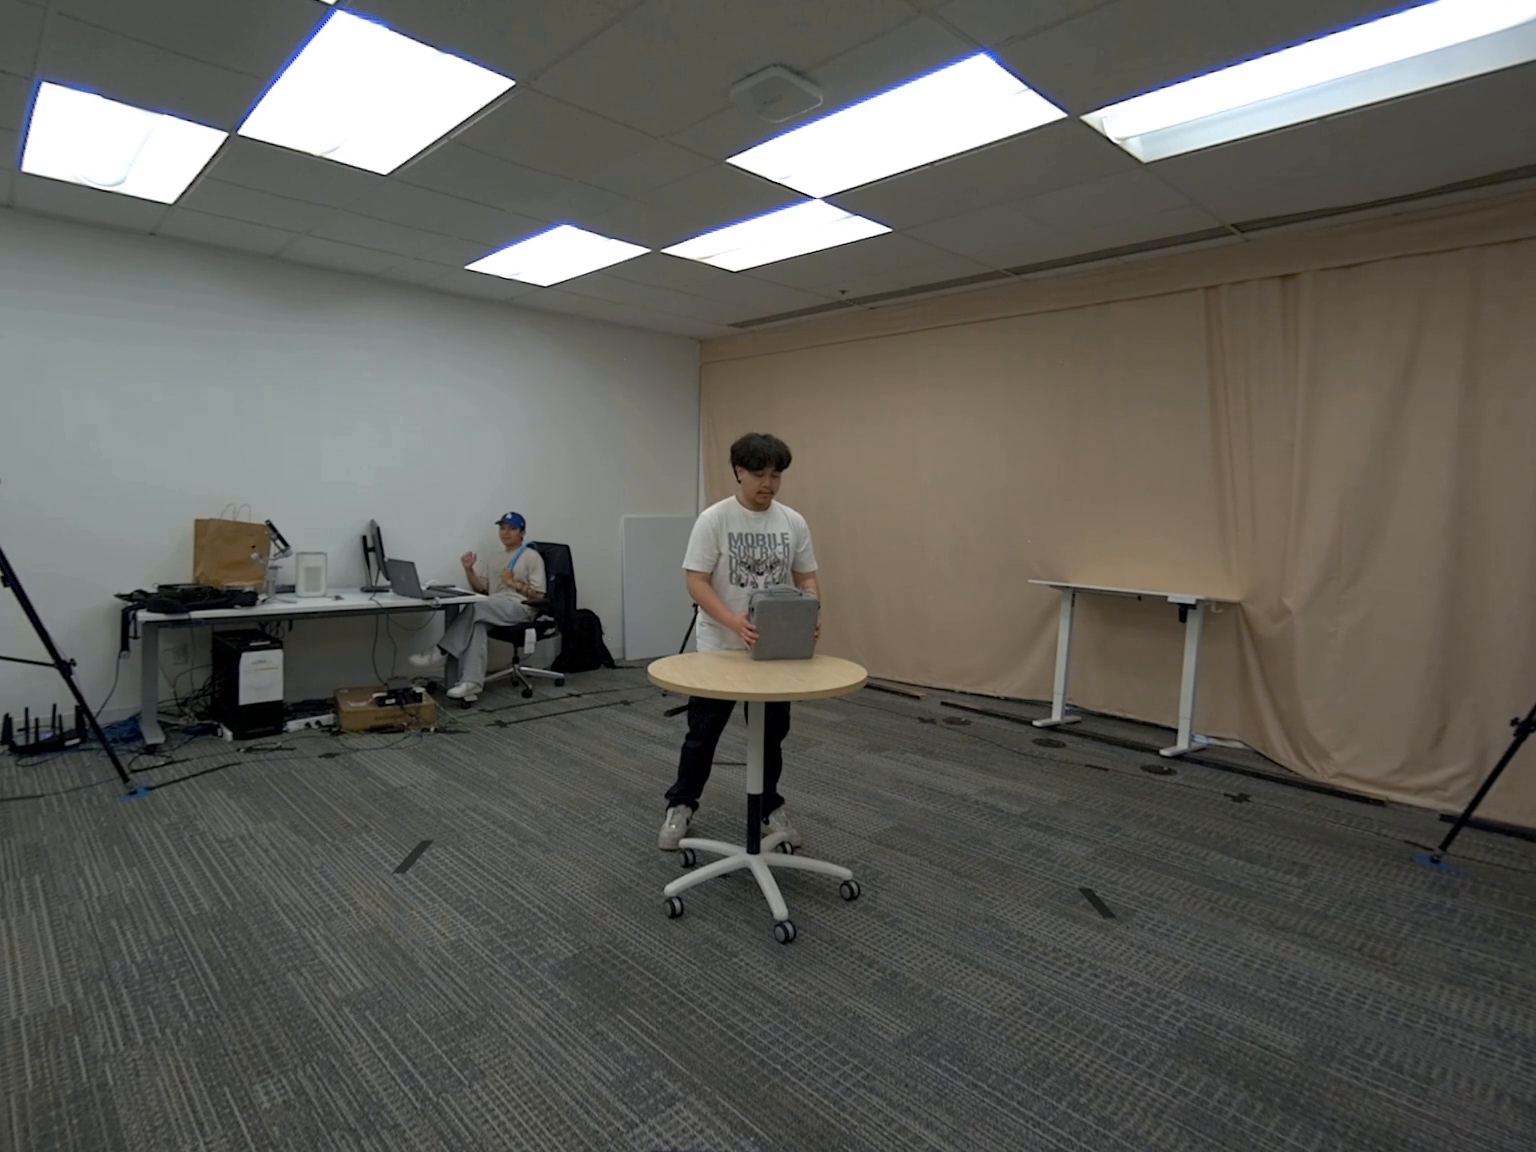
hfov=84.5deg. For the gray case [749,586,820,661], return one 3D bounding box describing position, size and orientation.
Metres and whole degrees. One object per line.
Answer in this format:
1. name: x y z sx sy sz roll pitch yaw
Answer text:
1. gray case: 0.039 0.177 3.126 0.254 0.257 0.106 -1 17 -13
